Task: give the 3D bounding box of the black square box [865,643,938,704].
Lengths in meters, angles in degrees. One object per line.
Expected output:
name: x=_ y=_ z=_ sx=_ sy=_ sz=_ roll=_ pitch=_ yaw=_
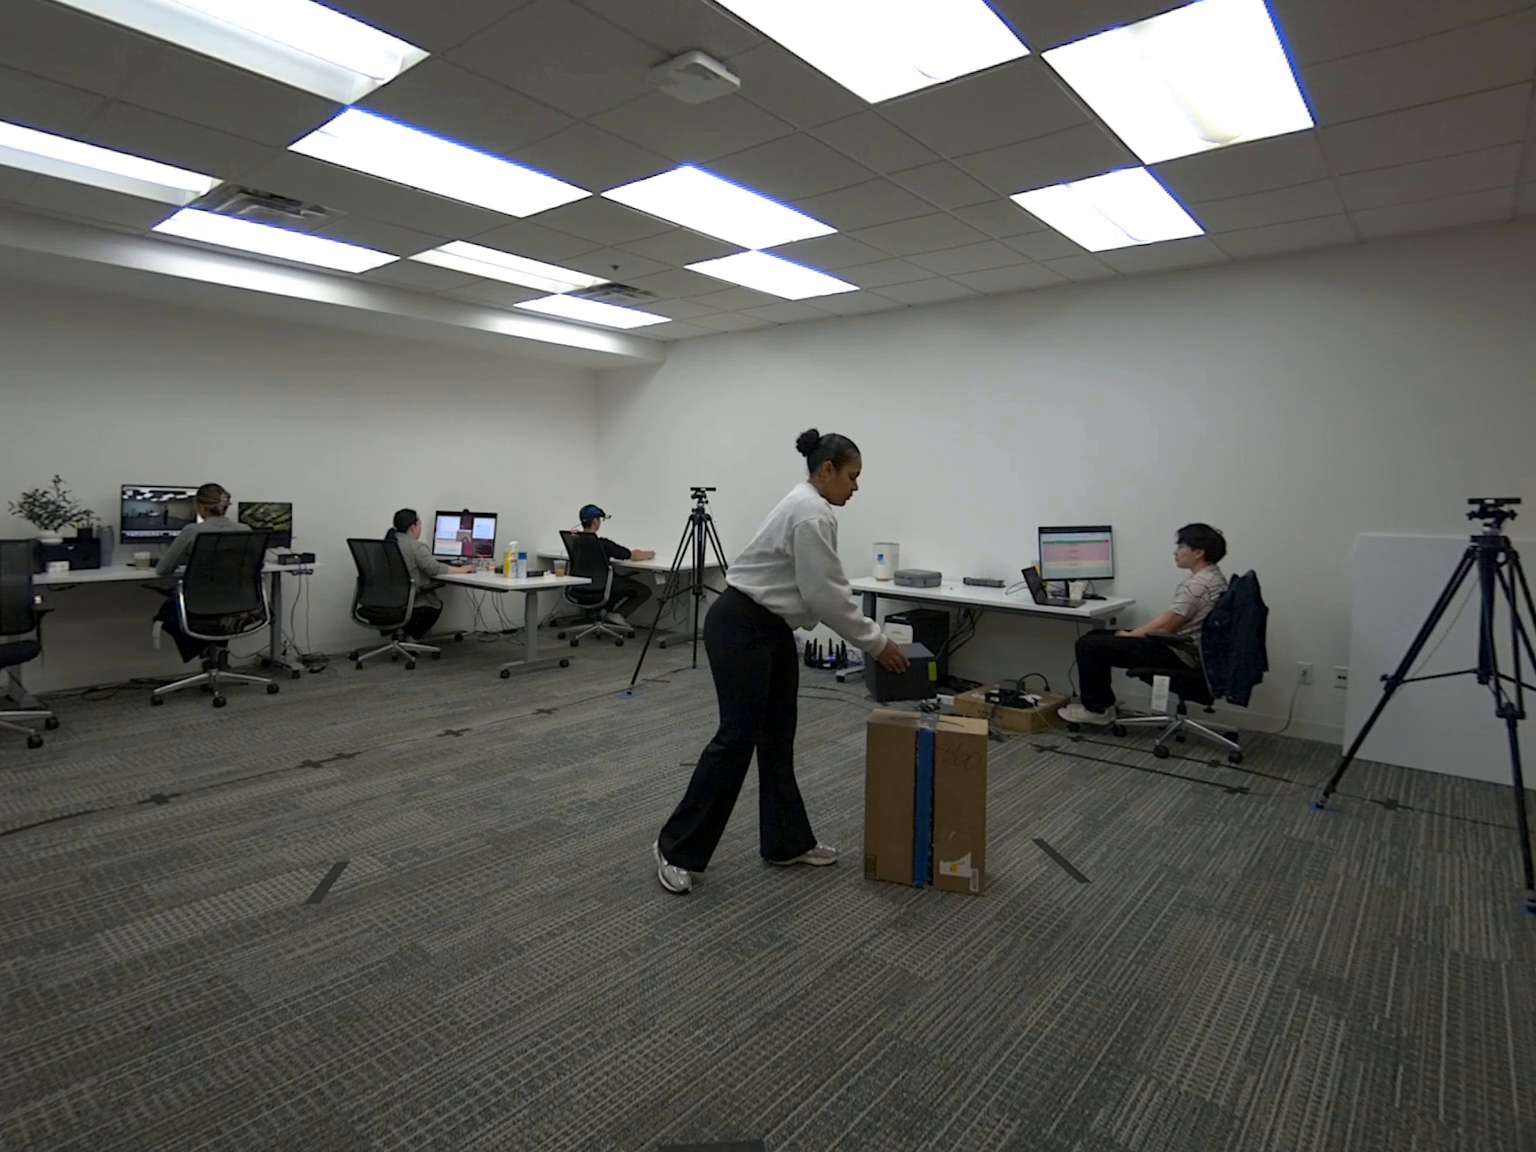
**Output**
black square box: x=0.466 y=0.346 z=3.090 sx=0.216 sy=0.155 sz=0.230 roll=-3 pitch=6 yaw=-5
